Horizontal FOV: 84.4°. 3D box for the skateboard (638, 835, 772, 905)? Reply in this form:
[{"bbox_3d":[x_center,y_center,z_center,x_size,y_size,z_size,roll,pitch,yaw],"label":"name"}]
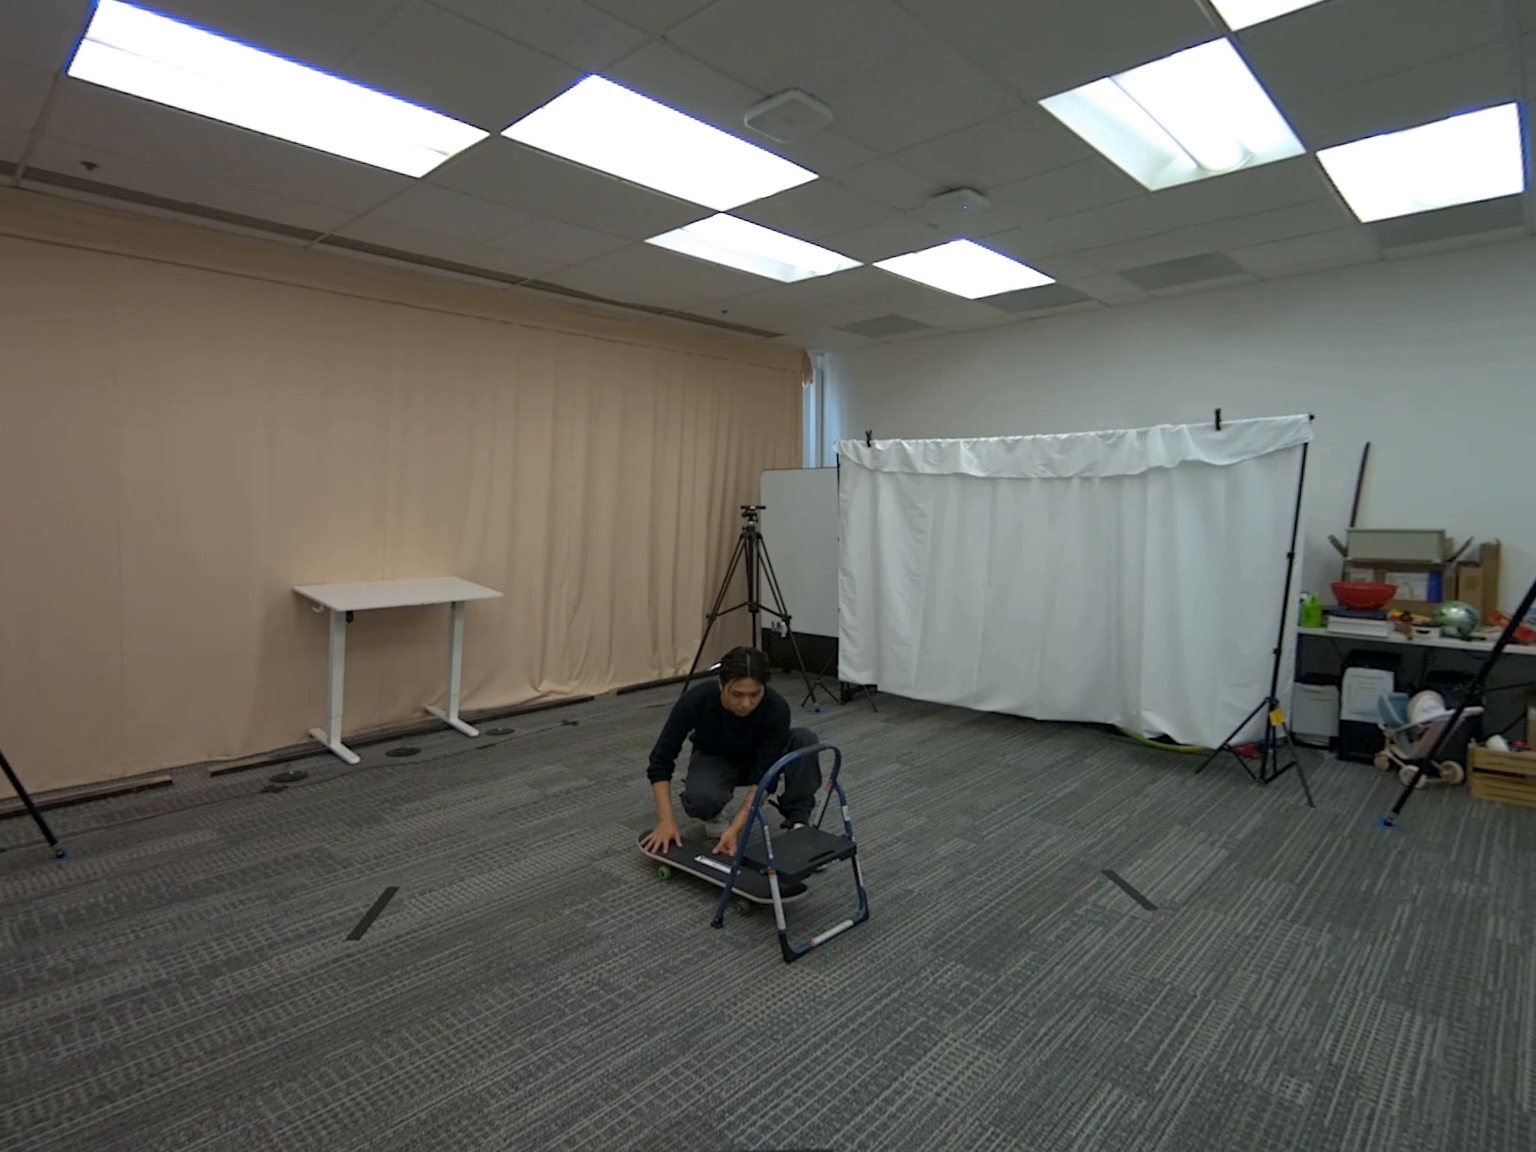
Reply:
[{"bbox_3d":[-0.175,1.073,3.060,0.811,0.110,0.187,3,5,42],"label":"skateboard"}]
